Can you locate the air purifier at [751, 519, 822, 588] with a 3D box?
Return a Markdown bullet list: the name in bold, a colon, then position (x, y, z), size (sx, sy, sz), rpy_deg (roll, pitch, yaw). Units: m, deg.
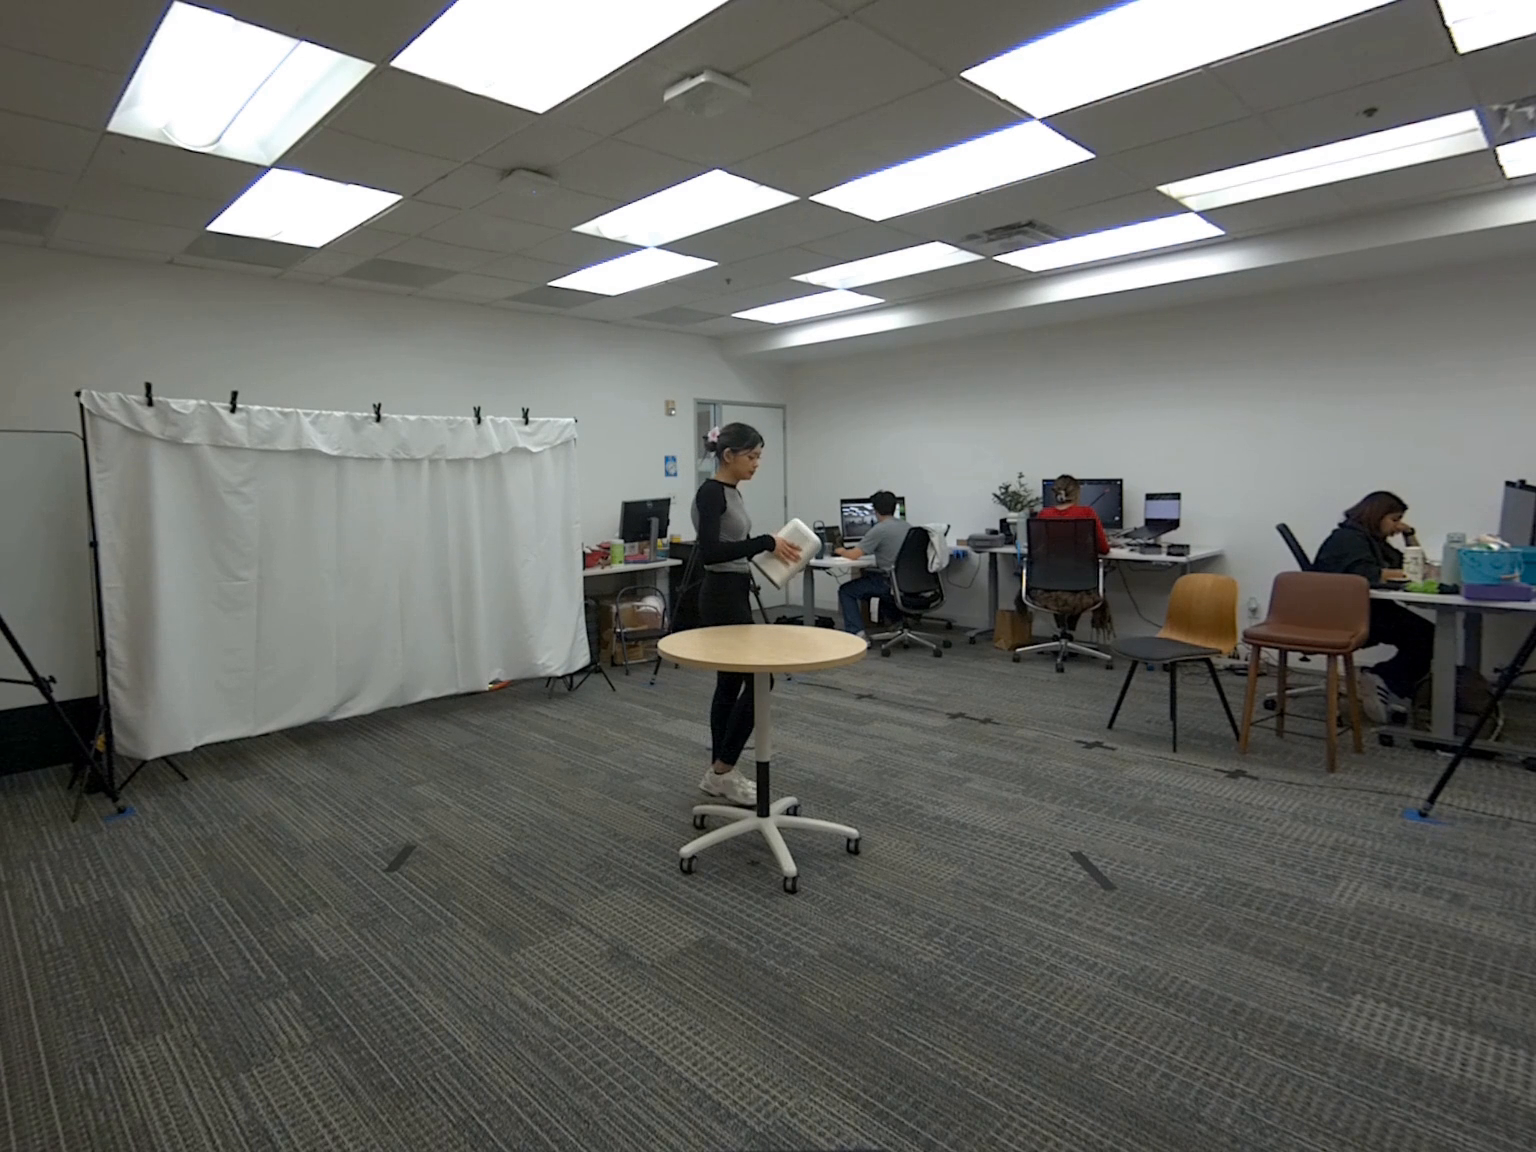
- **air purifier**: position (0.083, -0.094, 3.609), size (0.265, 0.175, 0.168), rpy_deg (-44, -13, -4)
